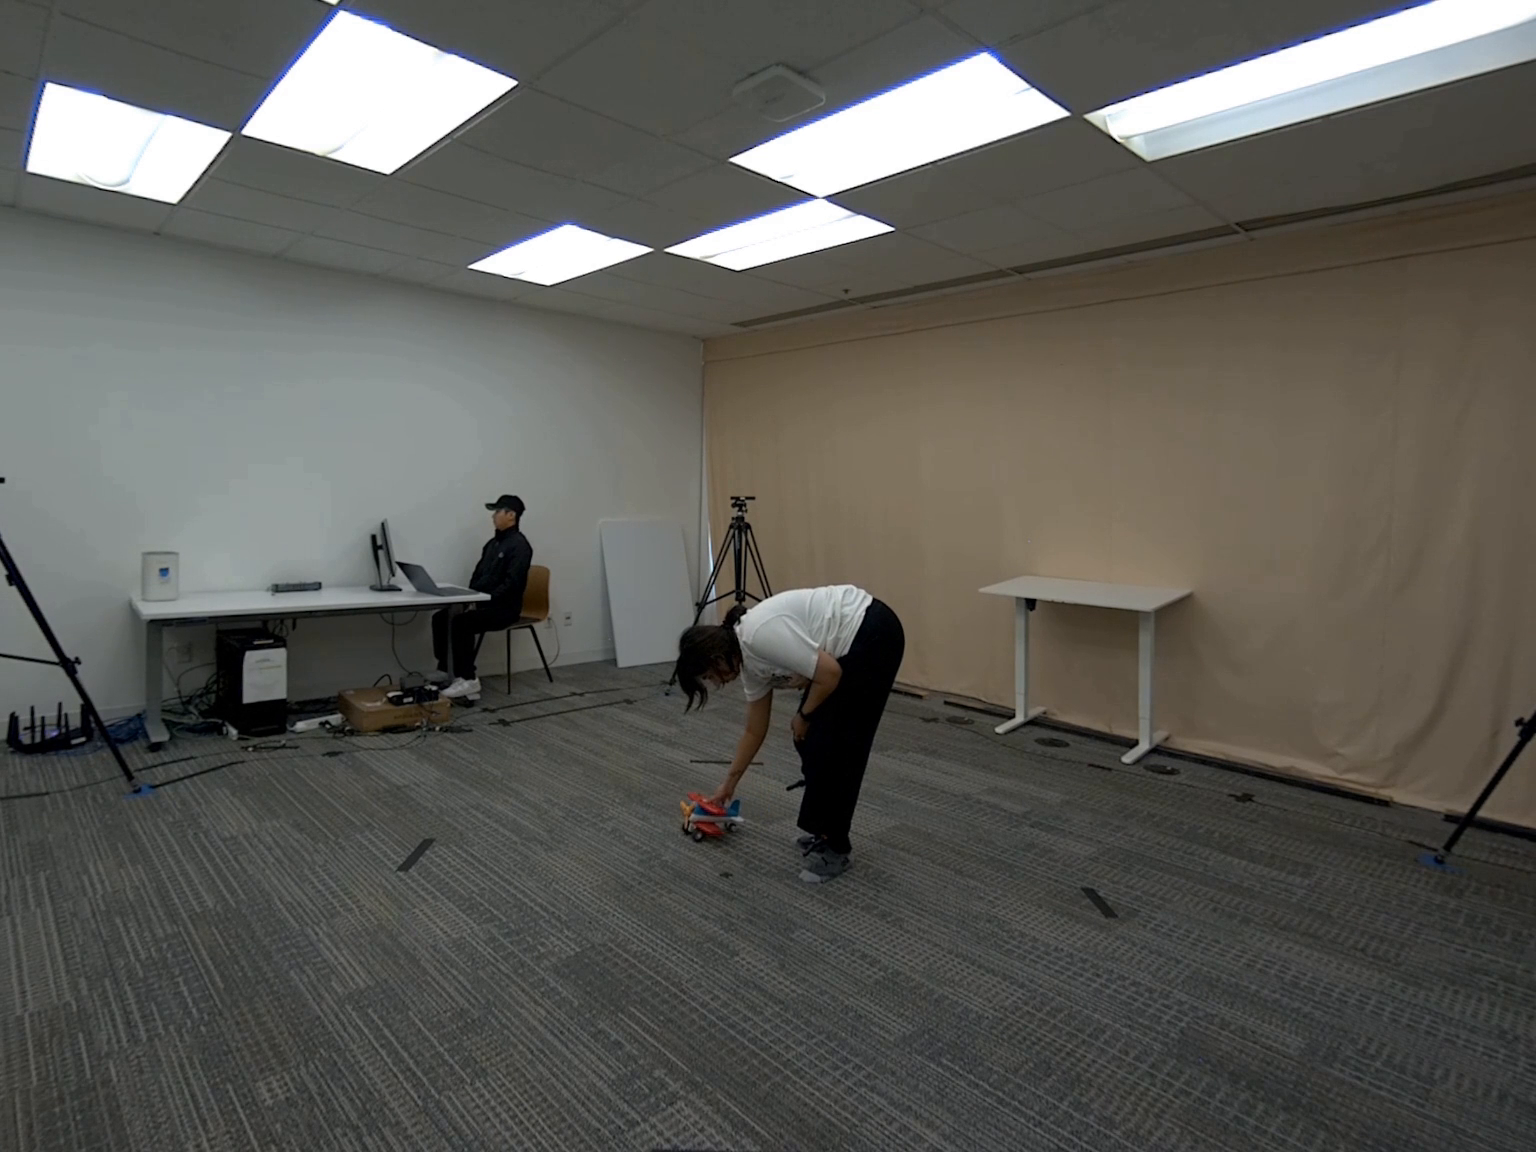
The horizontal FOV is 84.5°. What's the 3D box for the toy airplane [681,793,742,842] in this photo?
[{"bbox_3d":[-0.248,0.991,3.496,0.257,0.156,0.254,5,6,31],"label":"toy airplane"}]
